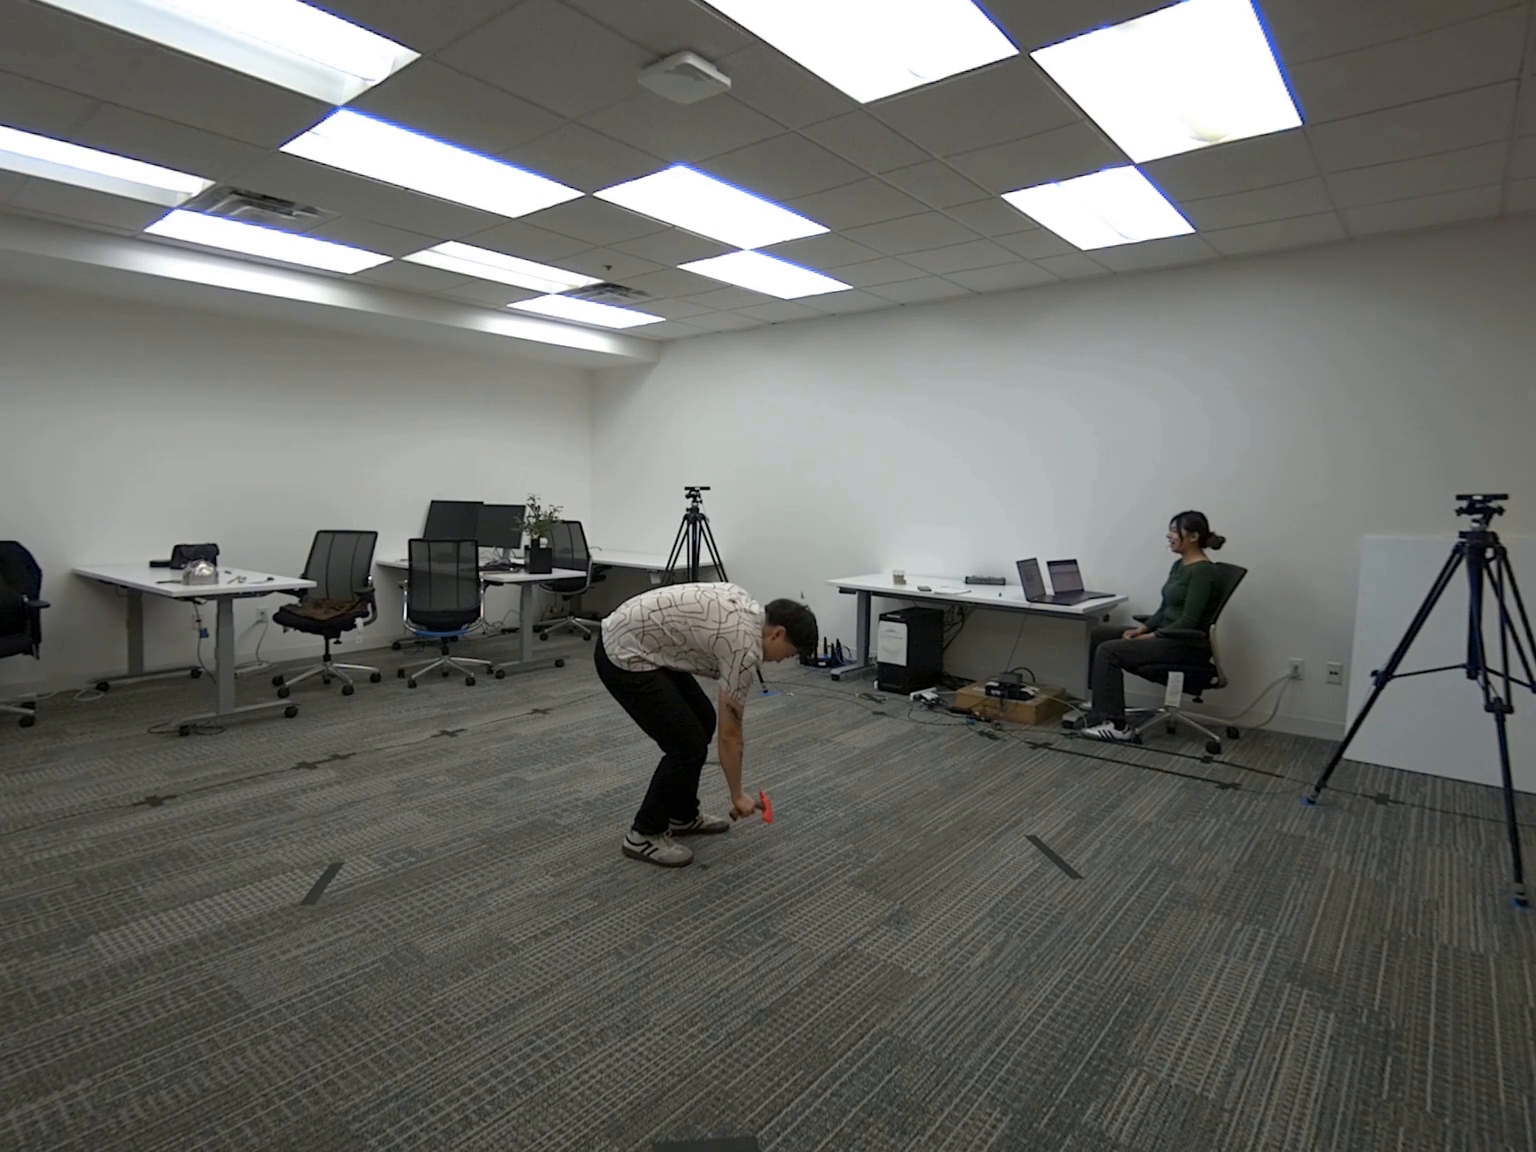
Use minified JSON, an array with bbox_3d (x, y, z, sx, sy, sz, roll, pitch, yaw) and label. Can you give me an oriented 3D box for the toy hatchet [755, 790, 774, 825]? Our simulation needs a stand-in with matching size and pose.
[{"bbox_3d":[-0.063,0.899,3.201,0.030,0.133,0.263,-39,-14,27],"label":"toy hatchet"}]
